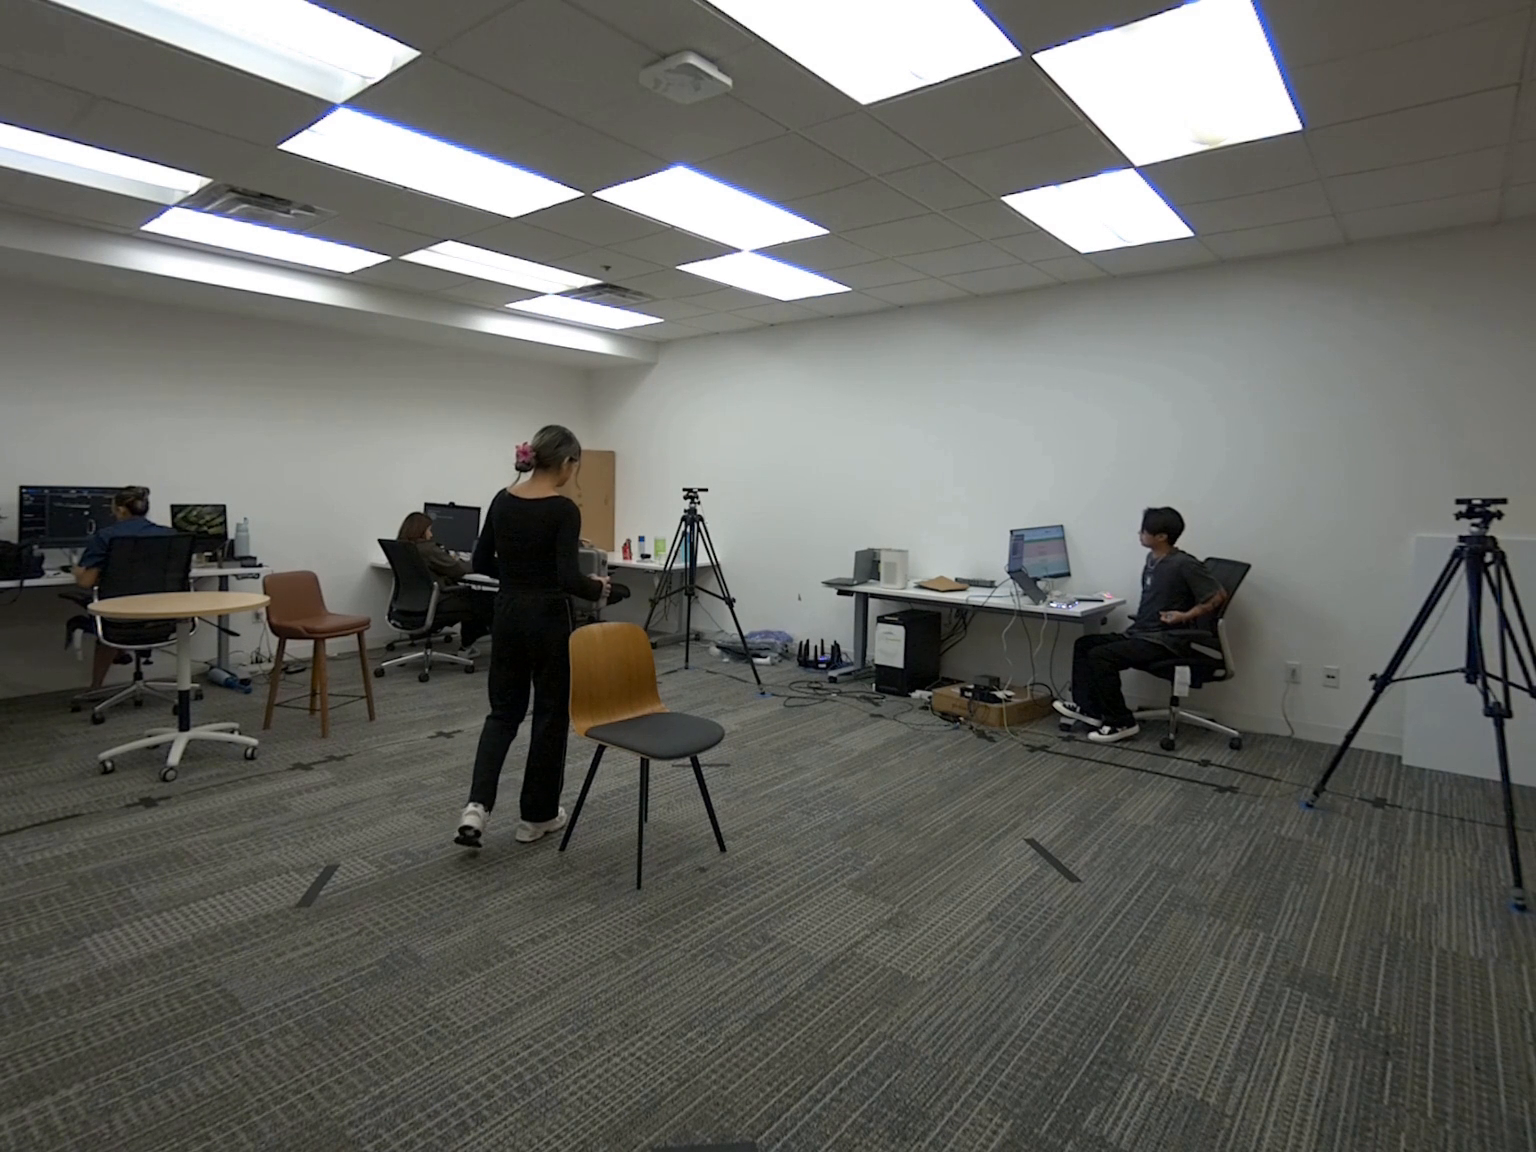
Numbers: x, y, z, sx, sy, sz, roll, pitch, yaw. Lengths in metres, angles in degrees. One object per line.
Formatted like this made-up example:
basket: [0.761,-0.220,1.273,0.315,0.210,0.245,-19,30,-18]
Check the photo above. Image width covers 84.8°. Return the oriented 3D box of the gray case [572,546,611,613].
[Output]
gray case: [-0.800,0.006,3.509,0.264,0.261,0.101,3,0,31]
